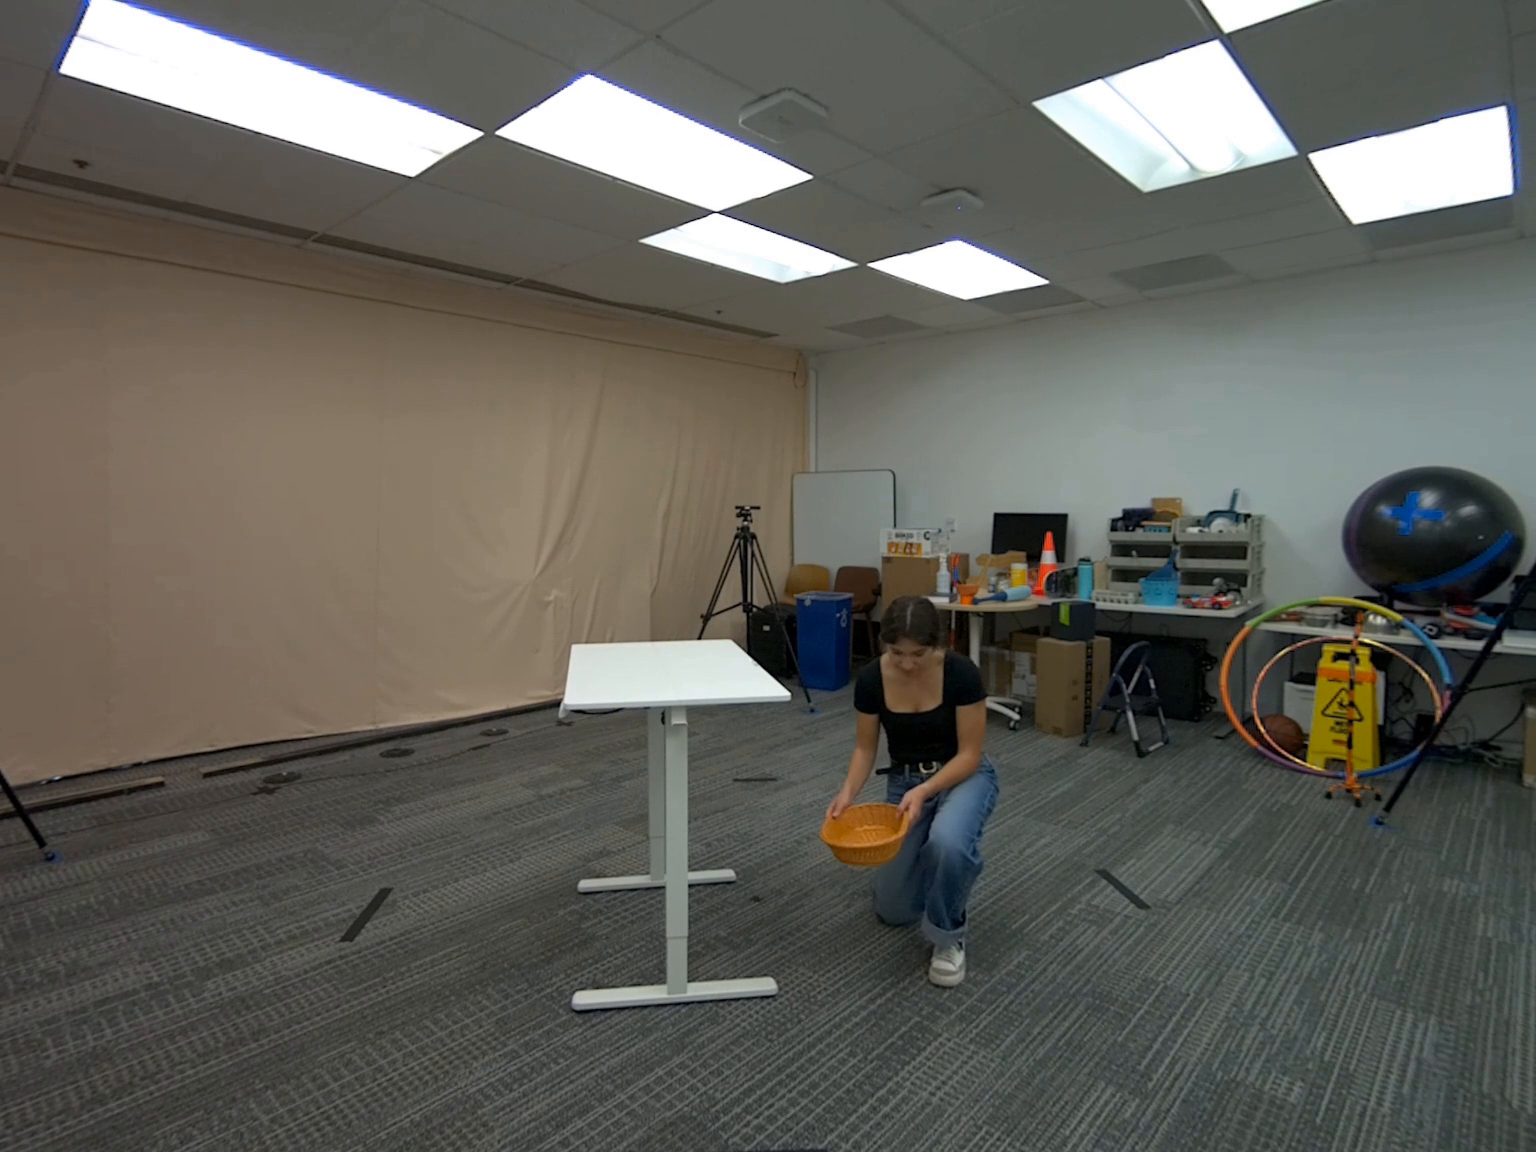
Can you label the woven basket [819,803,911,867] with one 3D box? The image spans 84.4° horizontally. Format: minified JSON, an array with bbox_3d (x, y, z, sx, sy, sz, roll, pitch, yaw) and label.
[{"bbox_3d":[0.293,0.756,2.438,0.257,0.073,0.345,-6,4,17],"label":"woven basket"}]
